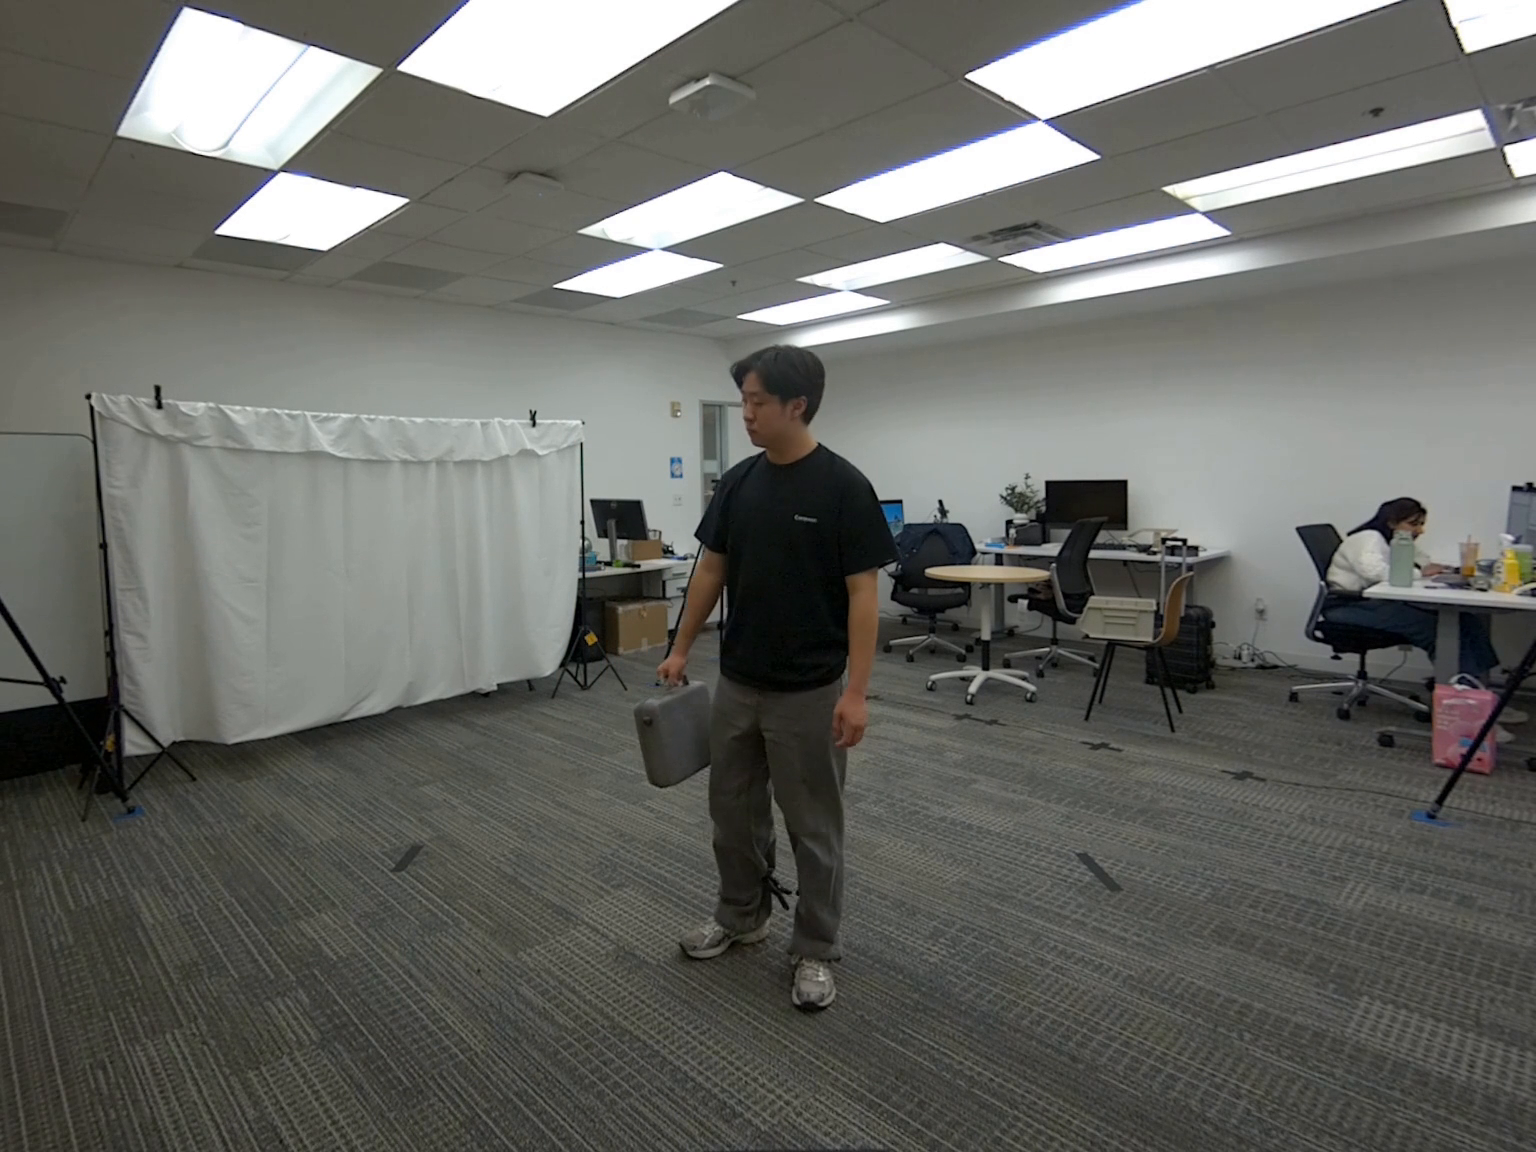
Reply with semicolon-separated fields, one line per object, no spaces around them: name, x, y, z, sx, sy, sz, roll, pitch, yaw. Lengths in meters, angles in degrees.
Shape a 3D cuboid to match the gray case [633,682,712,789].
gray case;-0.255;0.445;2.512;0.105;0.286;0.258;-10;4;37
